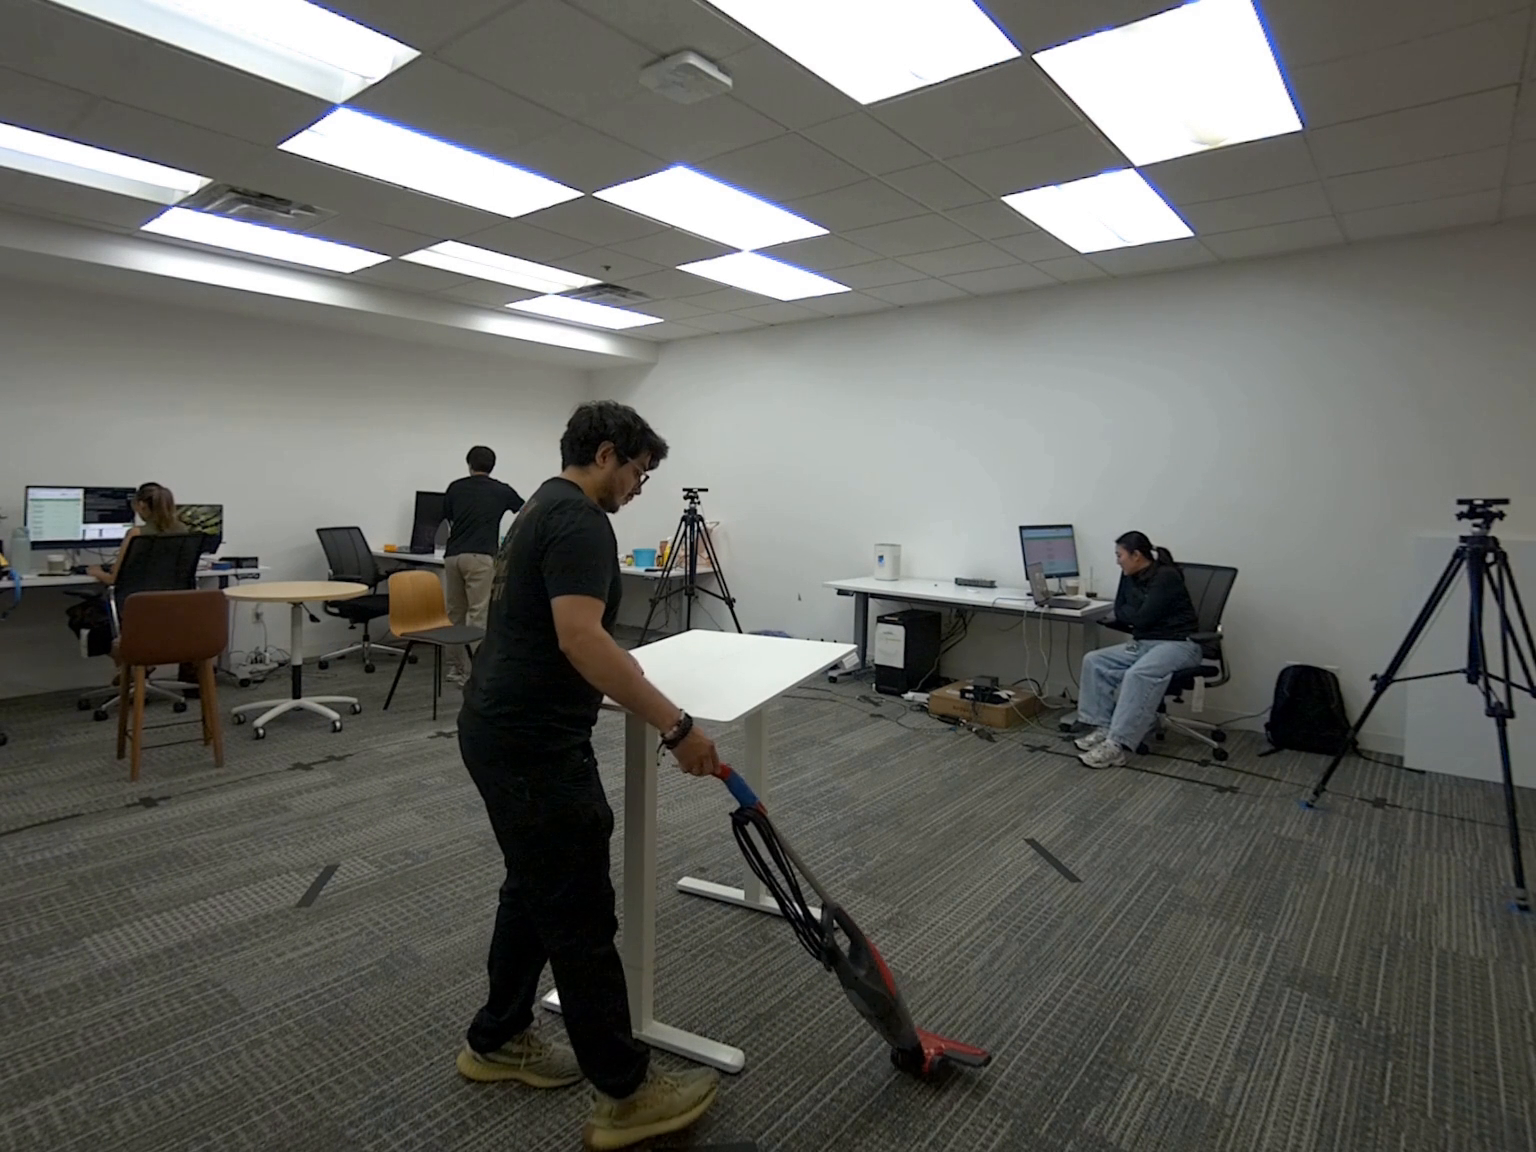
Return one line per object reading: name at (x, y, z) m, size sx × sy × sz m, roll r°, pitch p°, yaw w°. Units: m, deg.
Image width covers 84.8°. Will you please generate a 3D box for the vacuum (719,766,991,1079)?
vacuum at (0.126, 0.769, 1.890) m, size 0.258 × 1.023 × 0.144 m, roll -15°, pitch 27°, yaw 44°
